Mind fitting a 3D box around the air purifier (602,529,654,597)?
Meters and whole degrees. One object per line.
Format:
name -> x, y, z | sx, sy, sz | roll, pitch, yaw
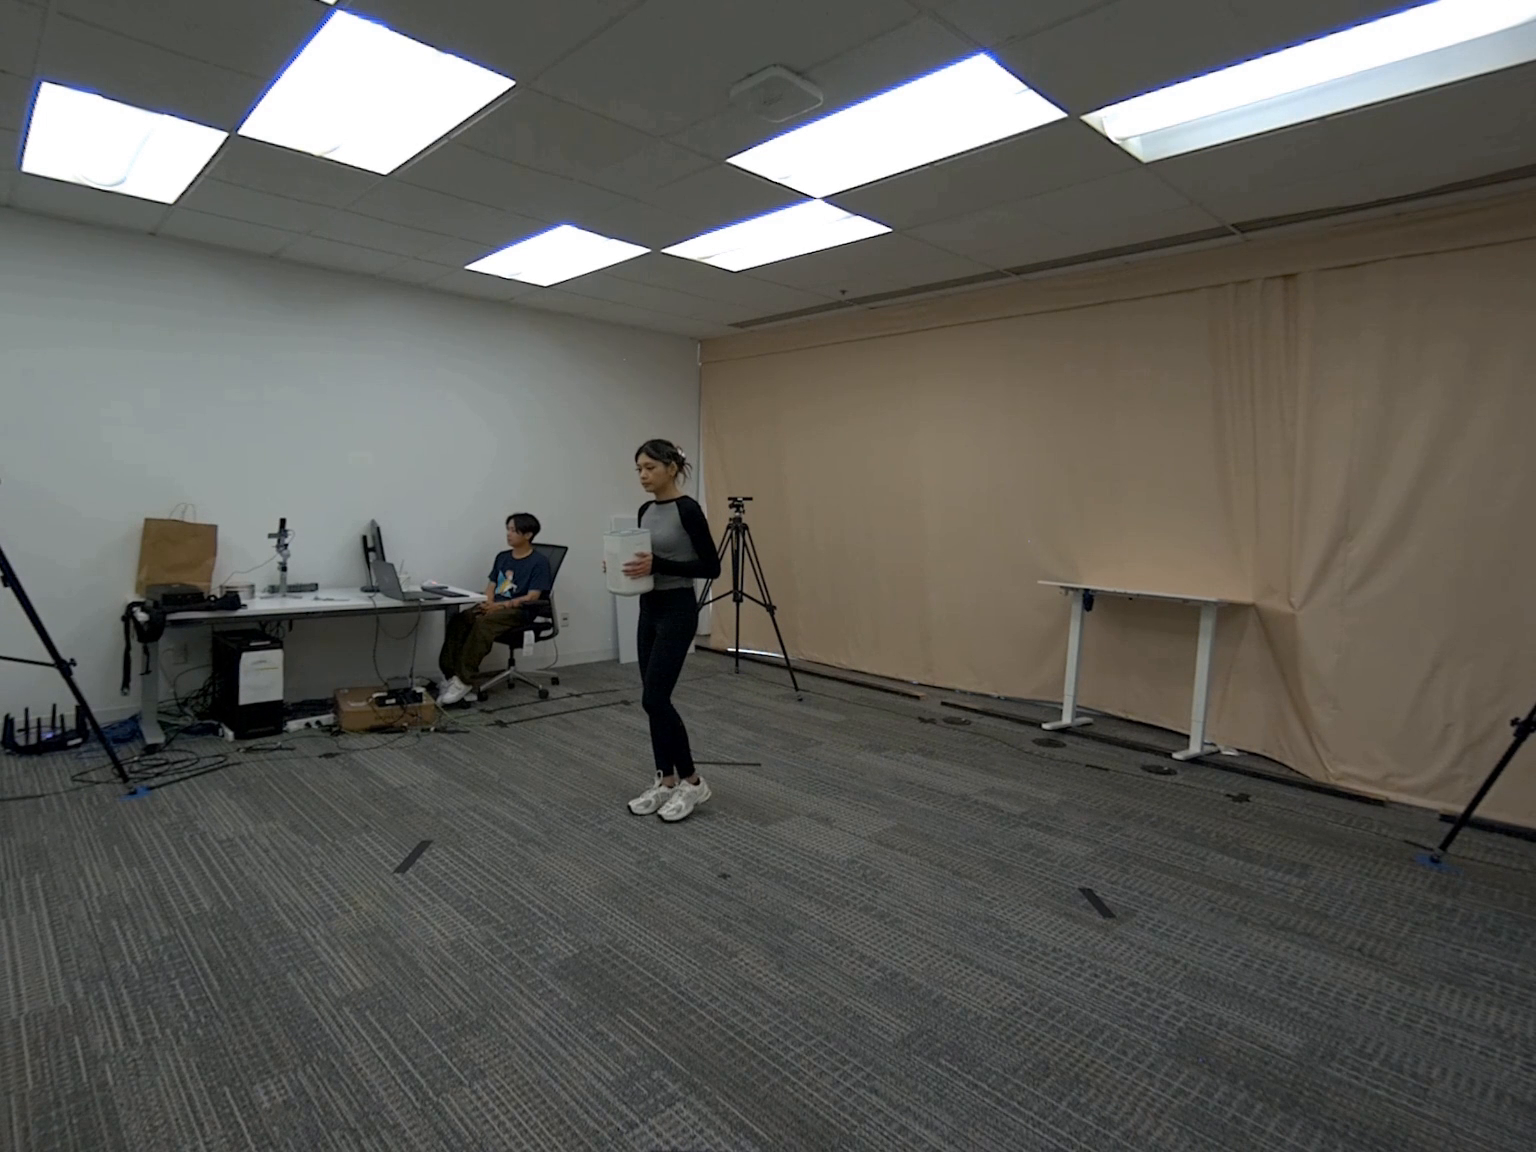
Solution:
air purifier -> -0.608, -0.059, 3.577 | 0.176, 0.264, 0.168 | 4, 11, 43
